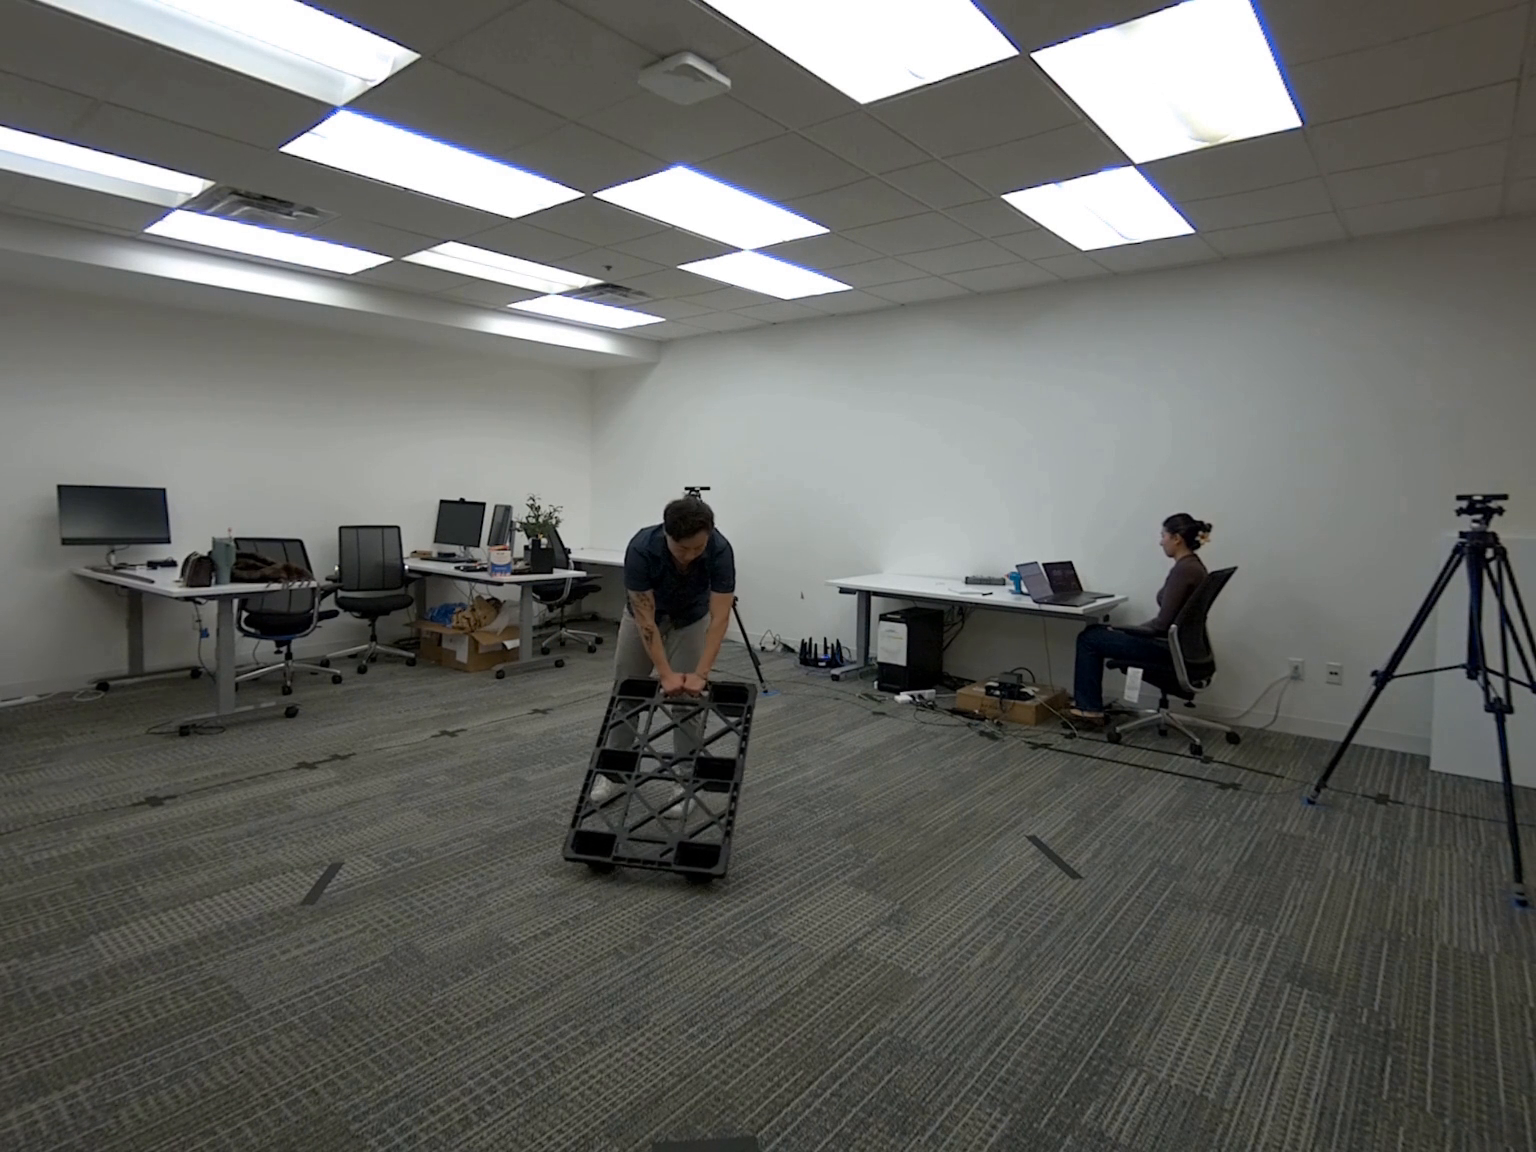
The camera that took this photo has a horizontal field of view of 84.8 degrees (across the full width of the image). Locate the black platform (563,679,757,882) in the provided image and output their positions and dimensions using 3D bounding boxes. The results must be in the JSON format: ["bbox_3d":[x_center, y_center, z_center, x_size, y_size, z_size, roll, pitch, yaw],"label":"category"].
[{"bbox_3d":[-0.387,0.751,3.282,0.613,0.138,0.823,2,46,10],"label":"black platform"}]
